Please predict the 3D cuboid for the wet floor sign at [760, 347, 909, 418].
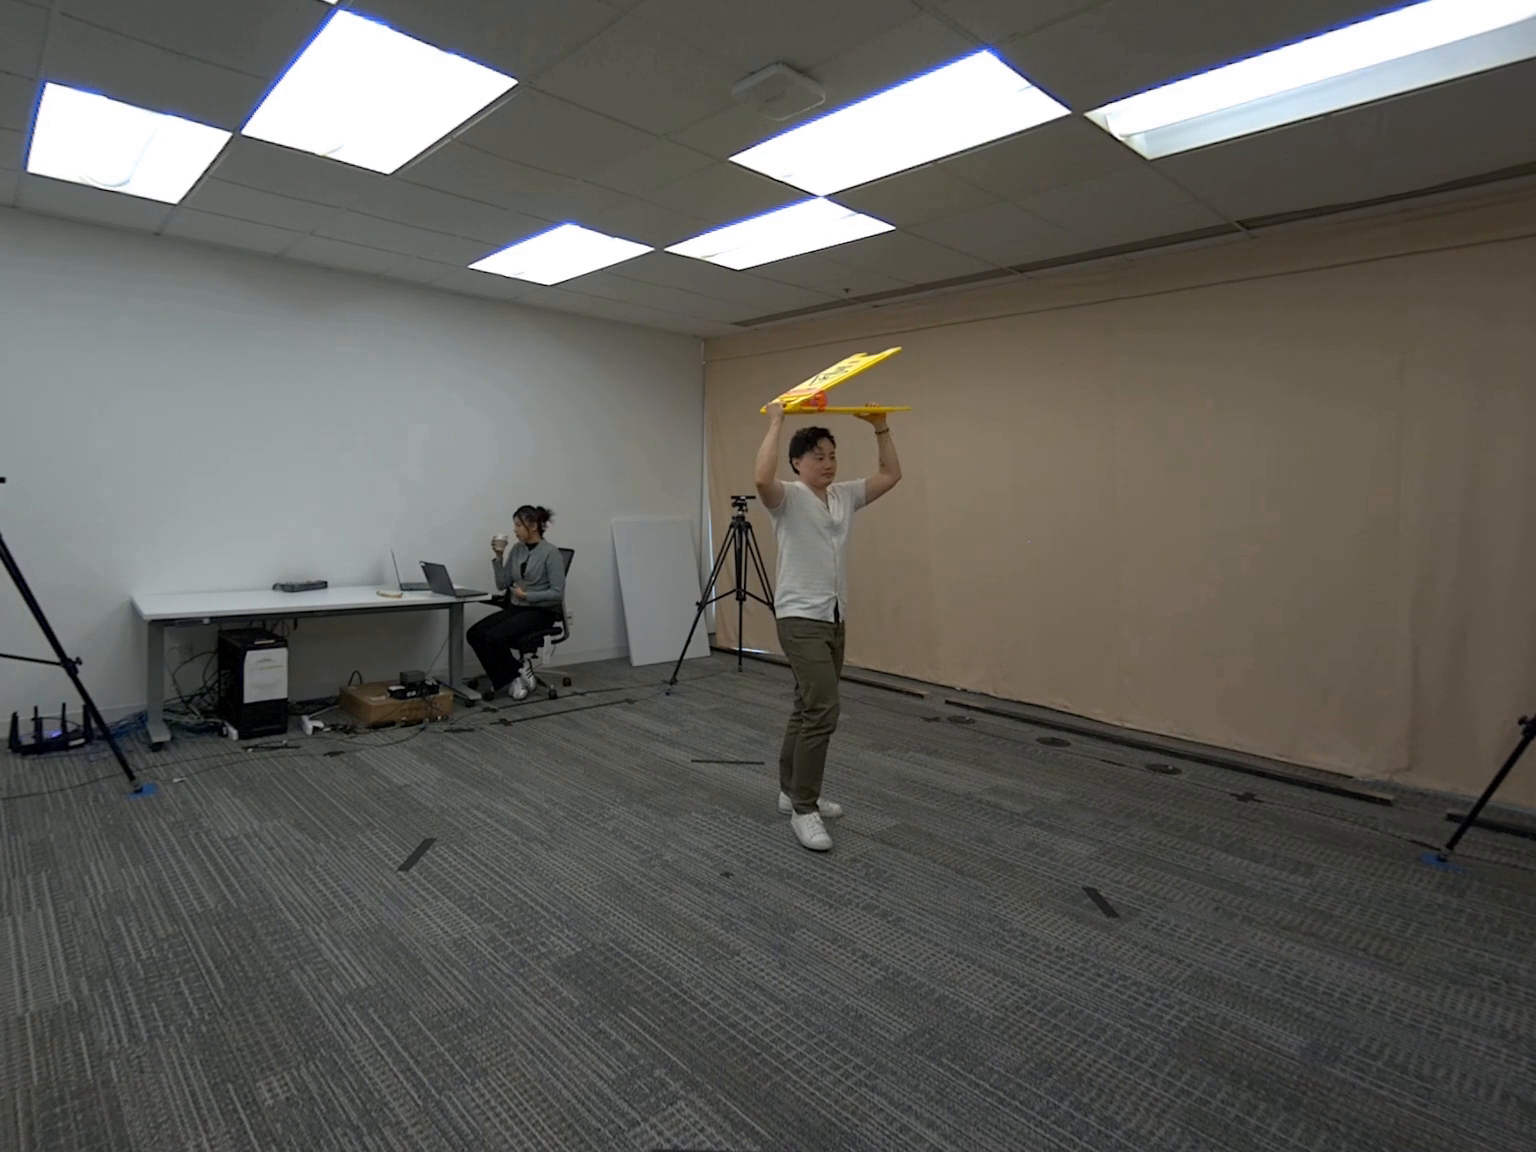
[{"bbox_3d":[0.253,-0.758,3.546,0.637,0.286,0.289,-22,18,-35],"label":"wet floor sign"}]
